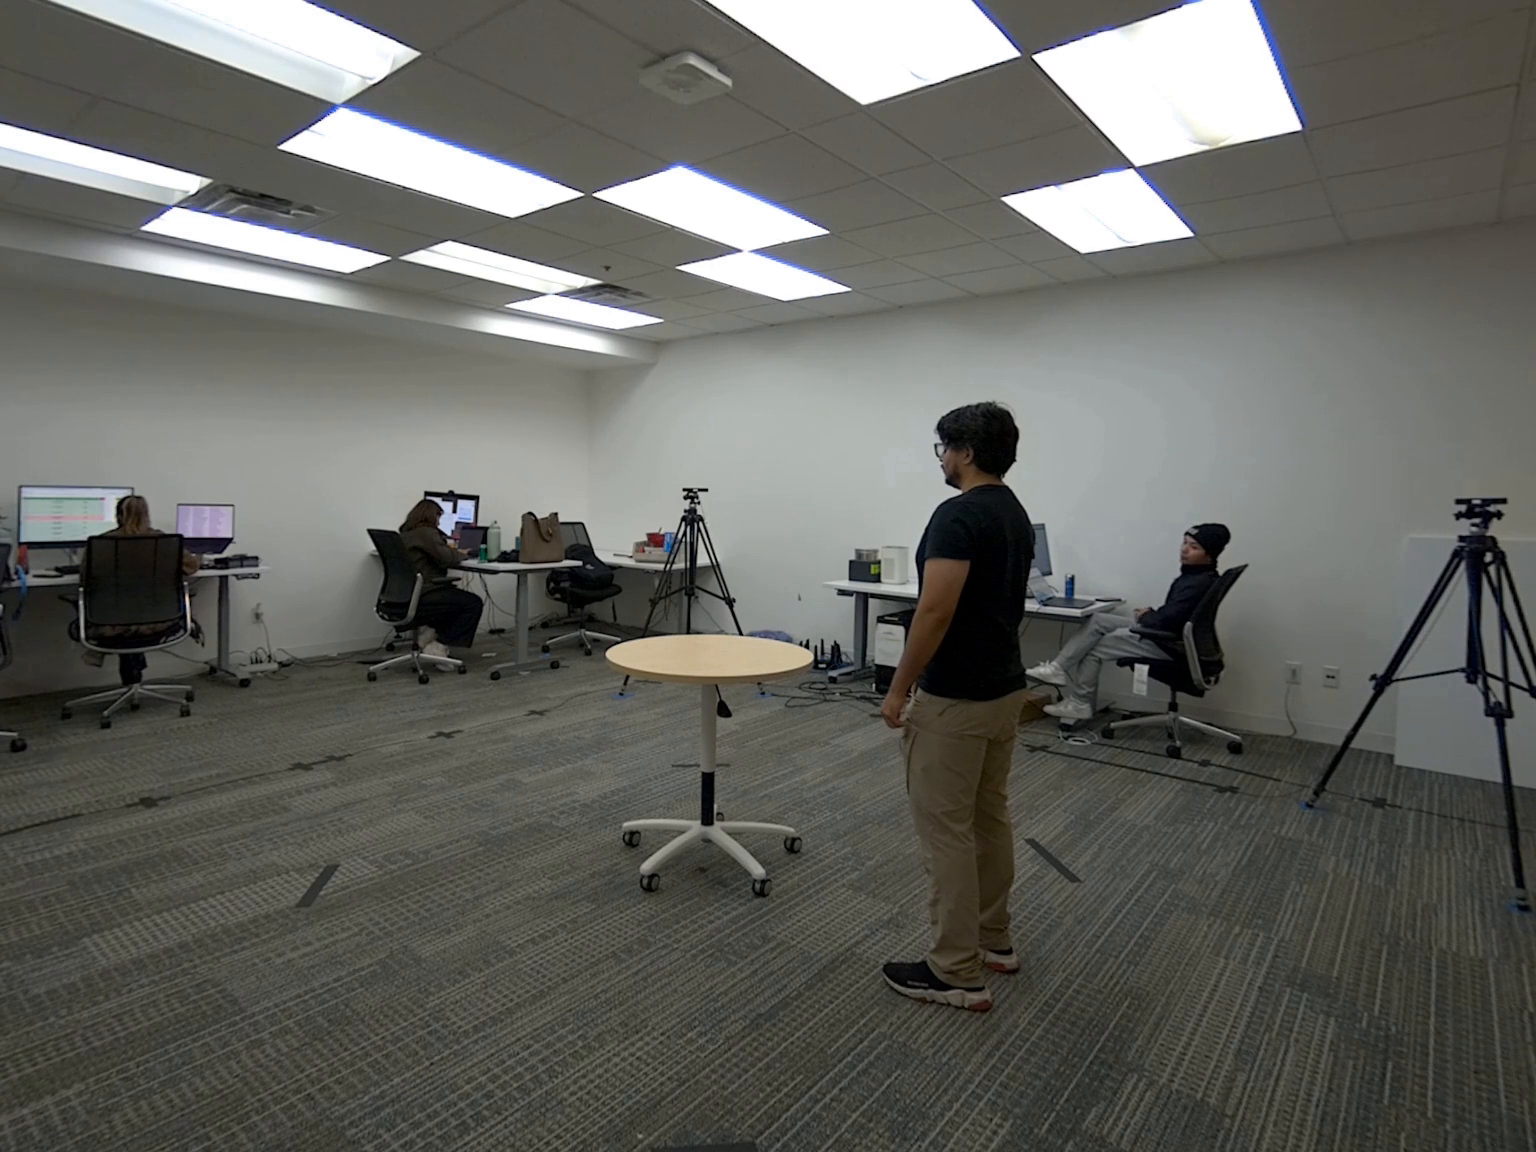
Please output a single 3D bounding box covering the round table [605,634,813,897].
[{"bbox_3d":[-0.243,0.671,3.159,0.784,0.784,0.789,1,4,-2],"label":"round table"}]
